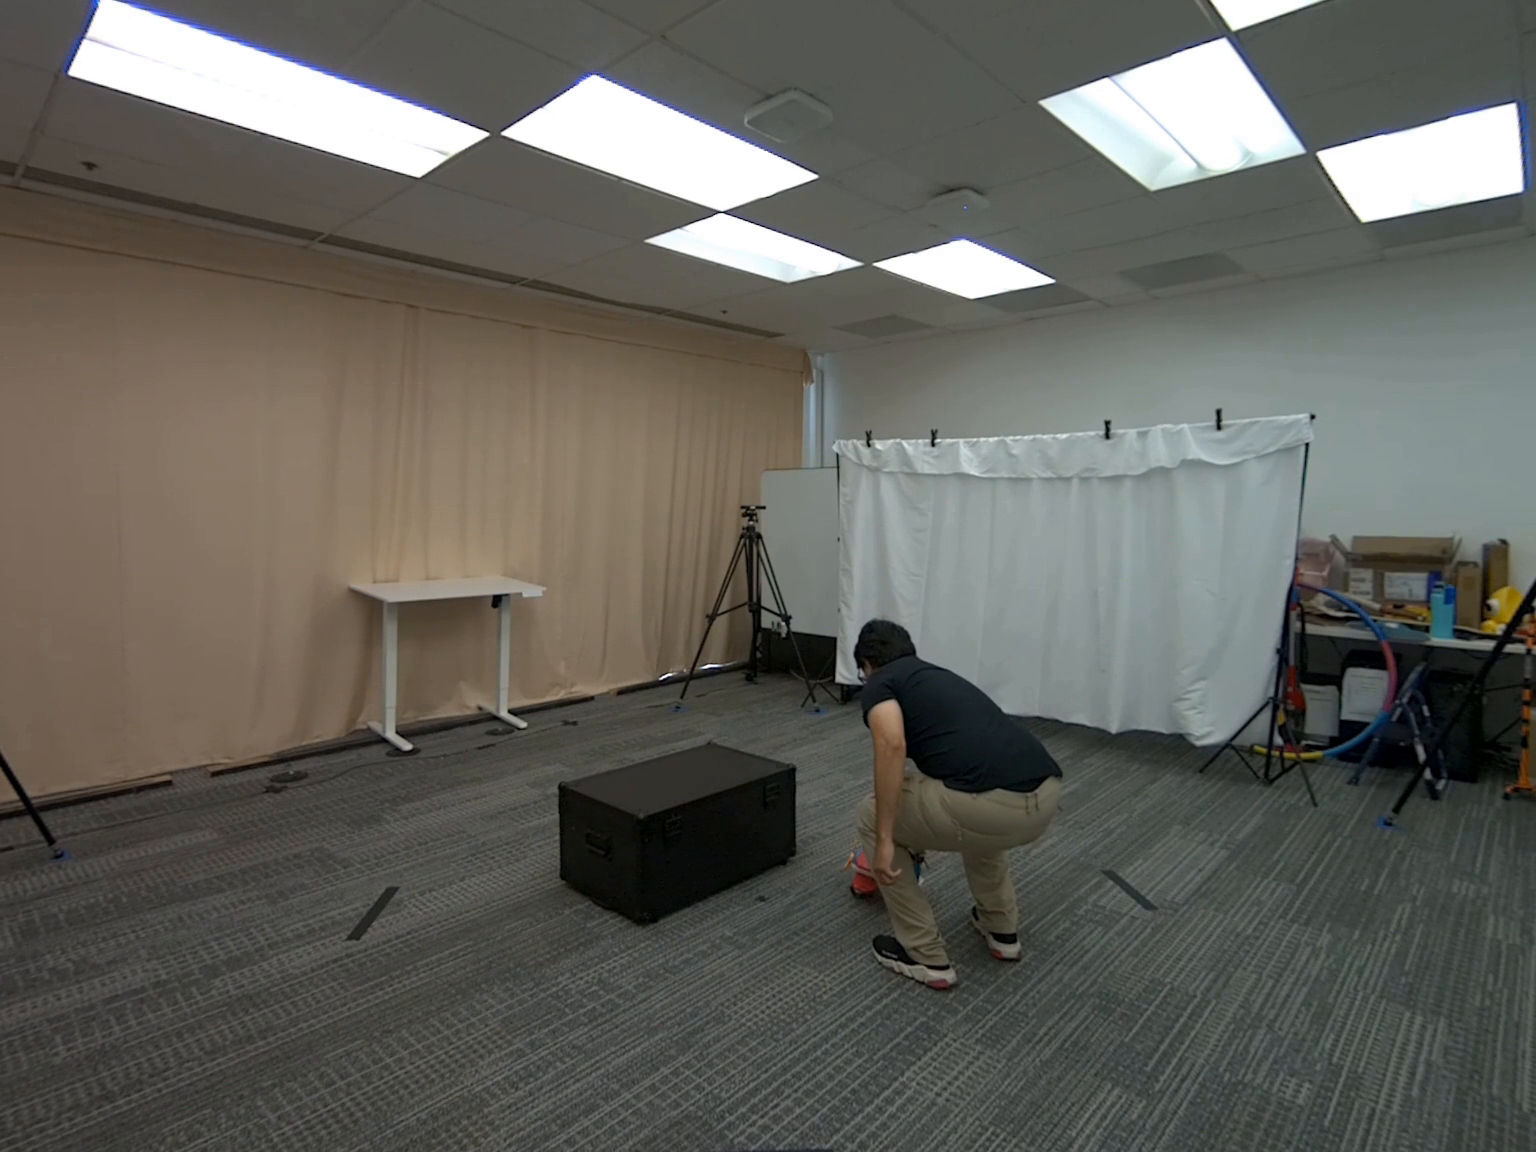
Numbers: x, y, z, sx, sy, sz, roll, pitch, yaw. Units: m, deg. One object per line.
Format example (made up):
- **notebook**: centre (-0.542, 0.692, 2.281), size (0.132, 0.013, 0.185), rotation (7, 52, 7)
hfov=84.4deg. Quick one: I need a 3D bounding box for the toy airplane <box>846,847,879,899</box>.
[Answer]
- **toy airplane**: centre (0.423, 1.060, 3.003), size (0.259, 0.156, 0.251), rotation (-5, 1, -1)
